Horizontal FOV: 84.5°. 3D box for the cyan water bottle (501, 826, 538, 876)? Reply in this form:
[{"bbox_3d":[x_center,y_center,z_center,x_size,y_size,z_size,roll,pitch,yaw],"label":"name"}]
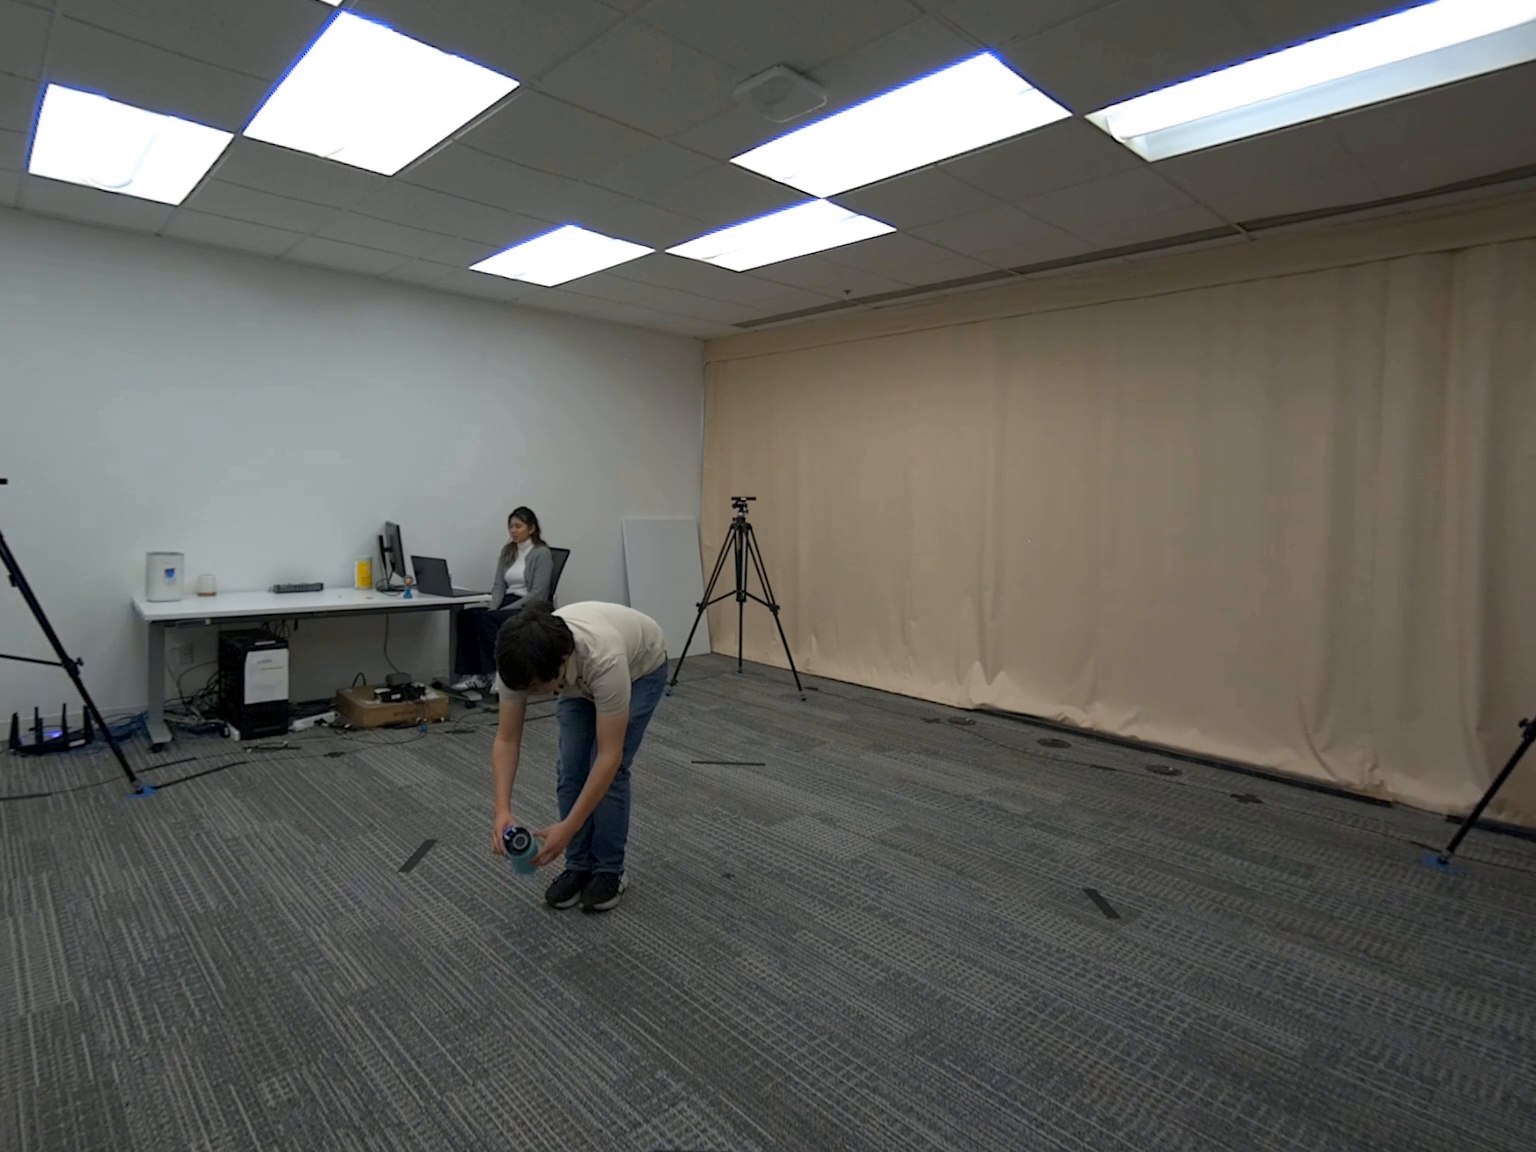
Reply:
[{"bbox_3d":[-0.769,0.843,2.570,0.092,0.094,0.278,2,-31,-3],"label":"cyan water bottle"}]
